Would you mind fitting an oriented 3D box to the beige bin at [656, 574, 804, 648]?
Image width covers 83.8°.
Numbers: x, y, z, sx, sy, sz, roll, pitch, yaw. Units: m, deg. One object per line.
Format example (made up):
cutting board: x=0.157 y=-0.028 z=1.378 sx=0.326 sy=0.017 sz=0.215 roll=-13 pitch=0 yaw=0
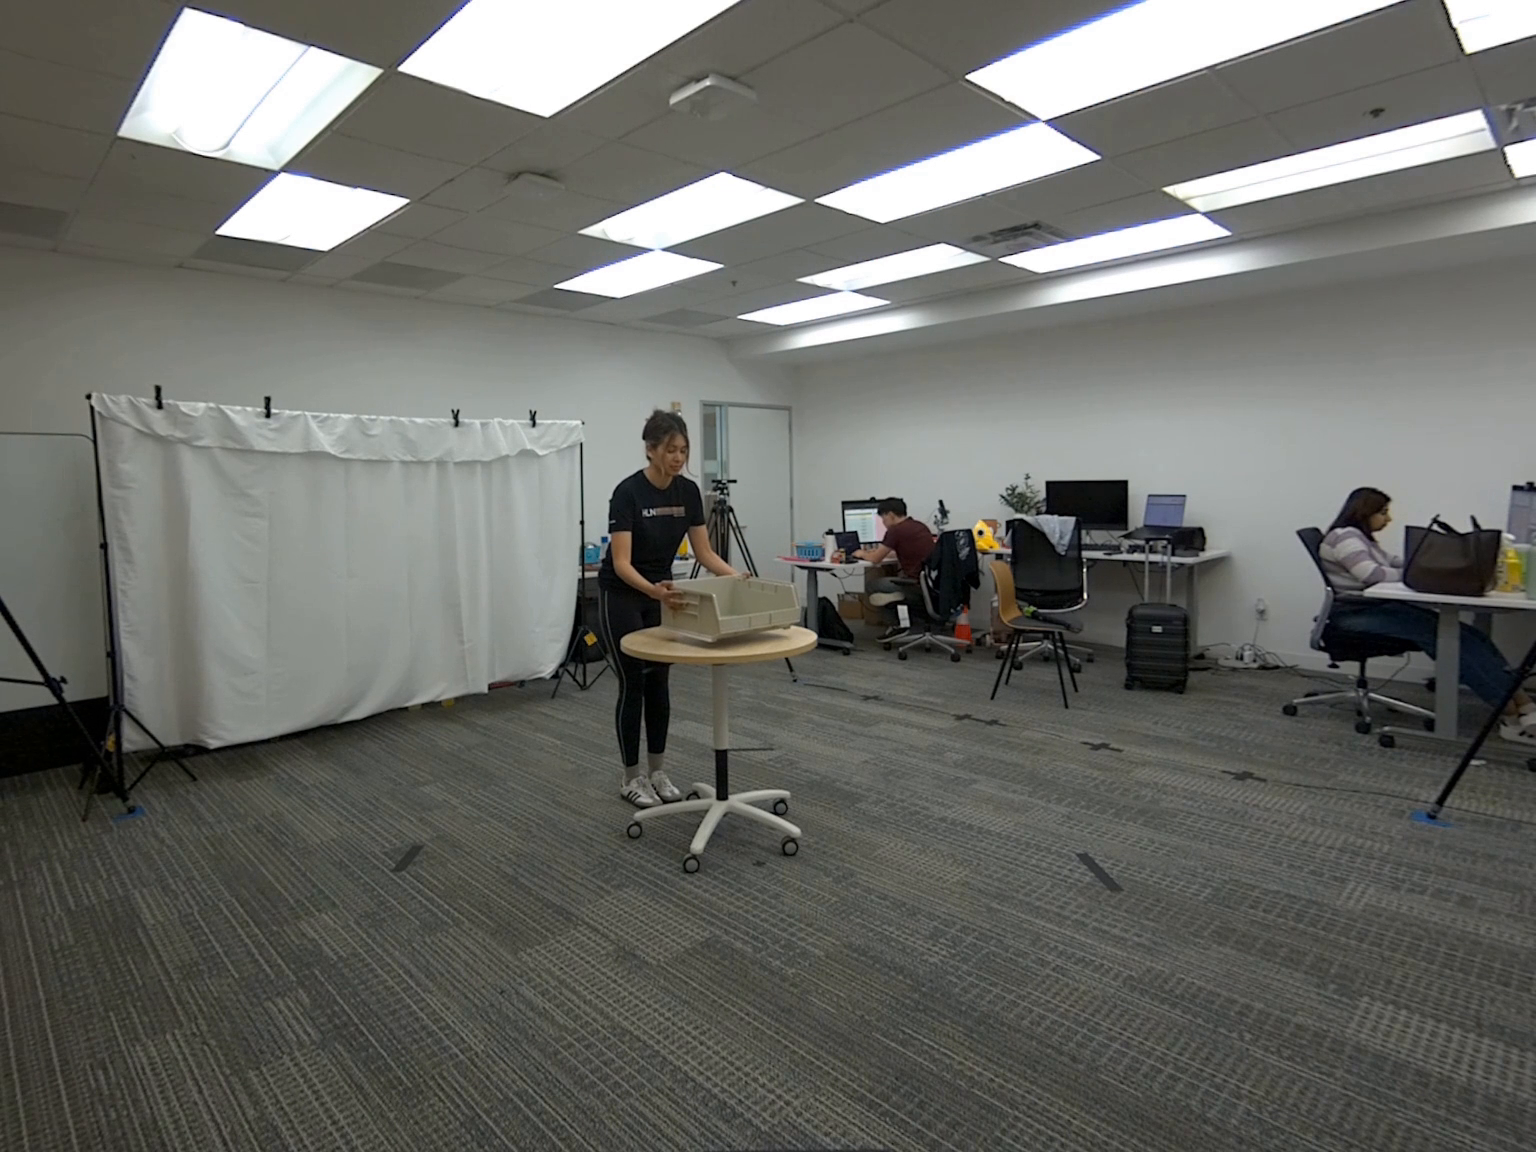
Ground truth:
beige bin: x=-0.149 y=0.120 z=3.288 sx=0.411 sy=0.188 sz=0.389 roll=-7 pitch=9 yaw=-42
